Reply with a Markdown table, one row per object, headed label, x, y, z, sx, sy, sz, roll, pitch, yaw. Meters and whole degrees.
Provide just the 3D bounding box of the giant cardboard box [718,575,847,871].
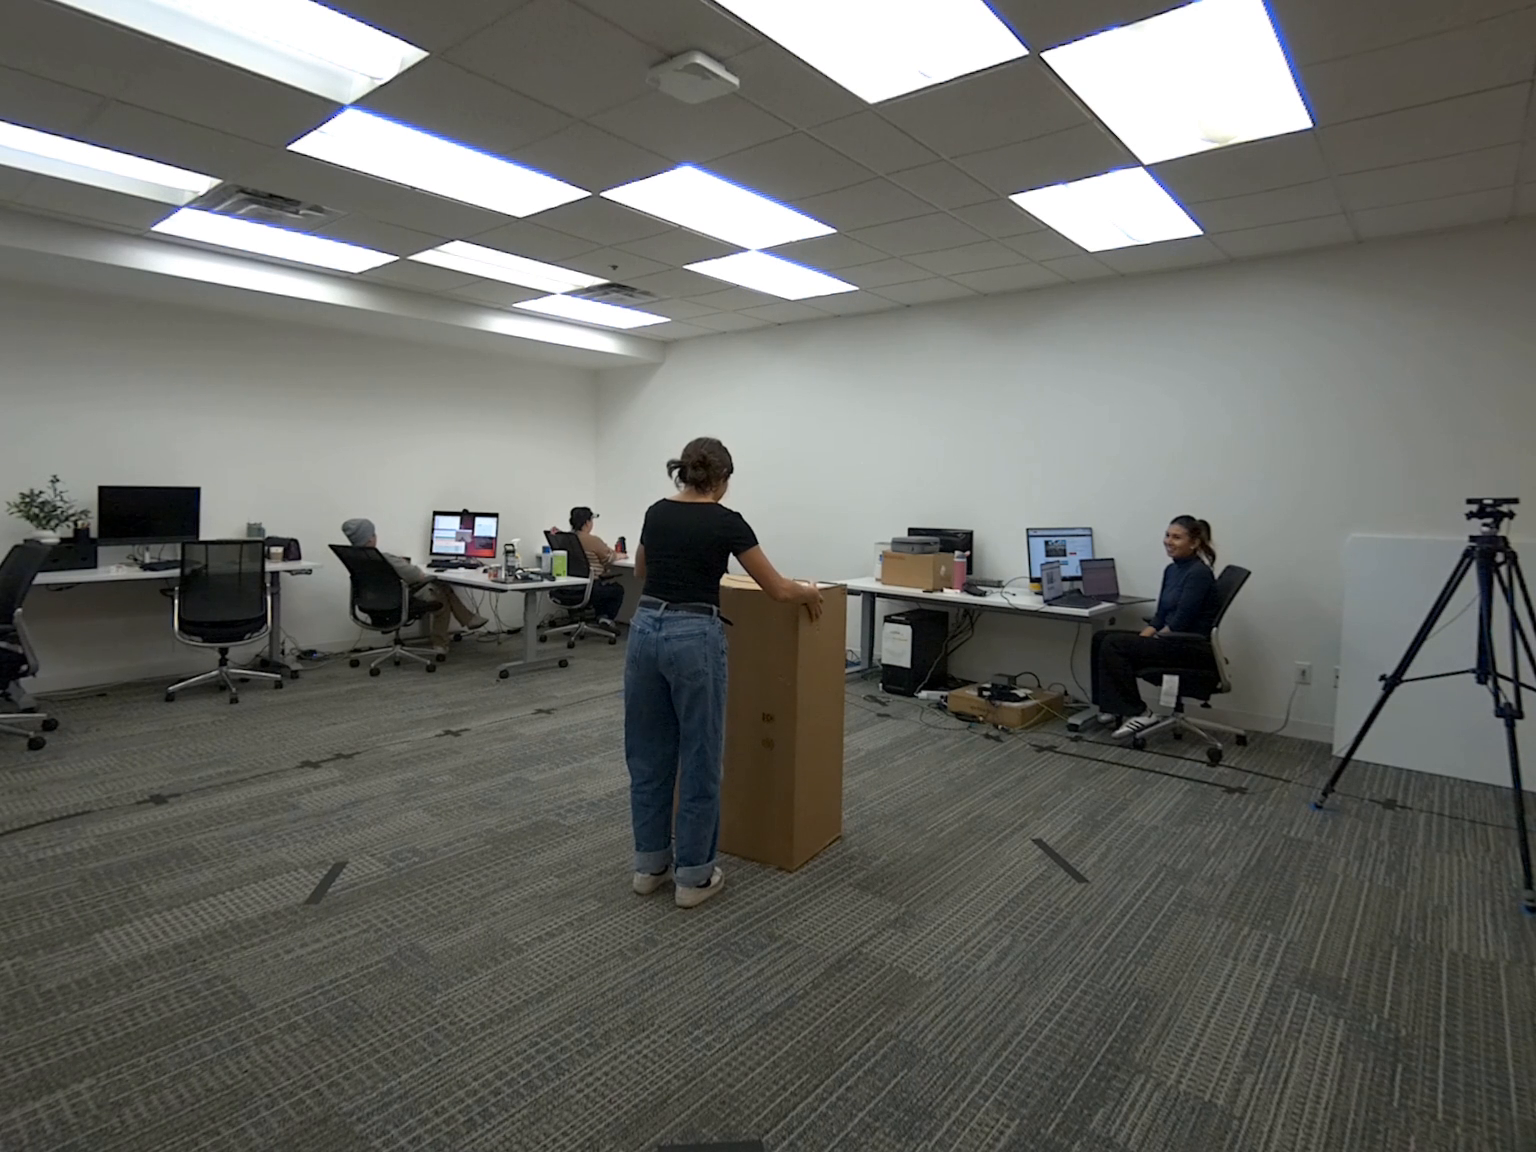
| label | x | y | z | sx | sy | sz | roll | pitch | yaw |
| --- | --- | --- | --- | --- | --- | --- | --- | --- | --- |
| giant cardboard box | -0.045 | 0.534 | 3.398 | 0.595 | 1.023 | 0.414 | 3 | 3 | 32 |
